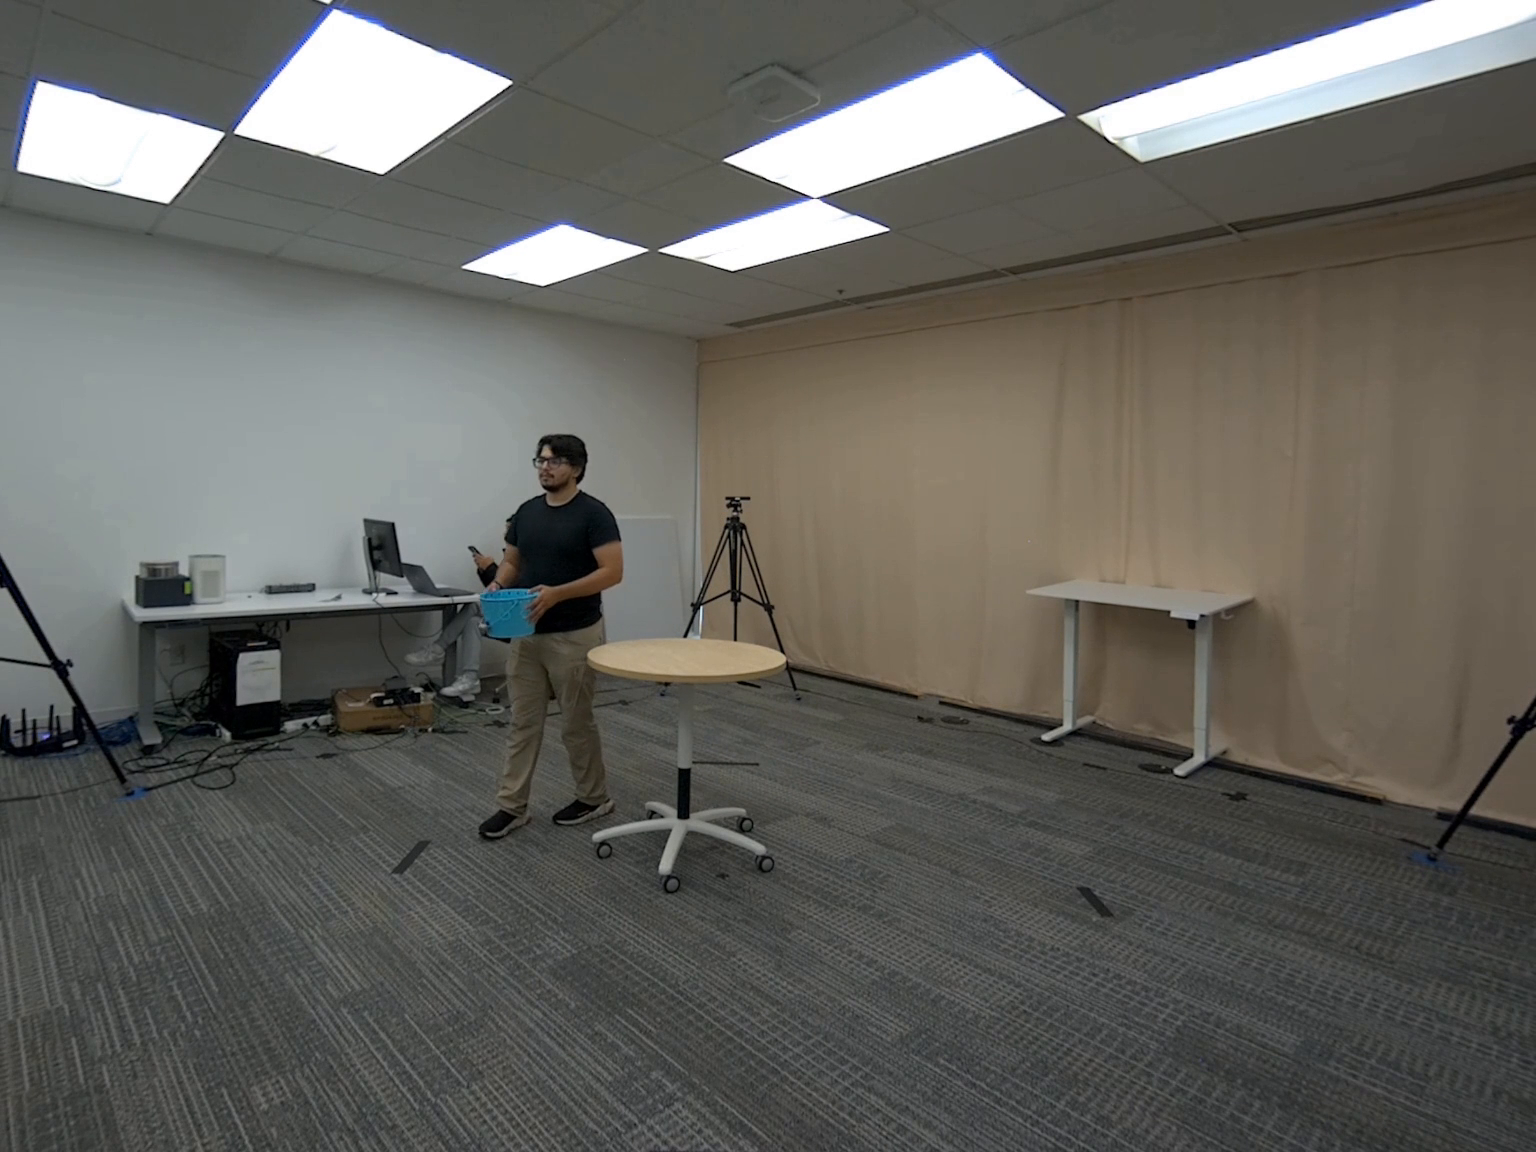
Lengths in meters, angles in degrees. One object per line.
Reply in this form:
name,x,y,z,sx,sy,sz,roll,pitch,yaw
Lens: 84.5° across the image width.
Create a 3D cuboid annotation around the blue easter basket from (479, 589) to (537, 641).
blue easter basket,-1.046,0.148,3.283,0.243,0.155,0.244,-1,5,-1
